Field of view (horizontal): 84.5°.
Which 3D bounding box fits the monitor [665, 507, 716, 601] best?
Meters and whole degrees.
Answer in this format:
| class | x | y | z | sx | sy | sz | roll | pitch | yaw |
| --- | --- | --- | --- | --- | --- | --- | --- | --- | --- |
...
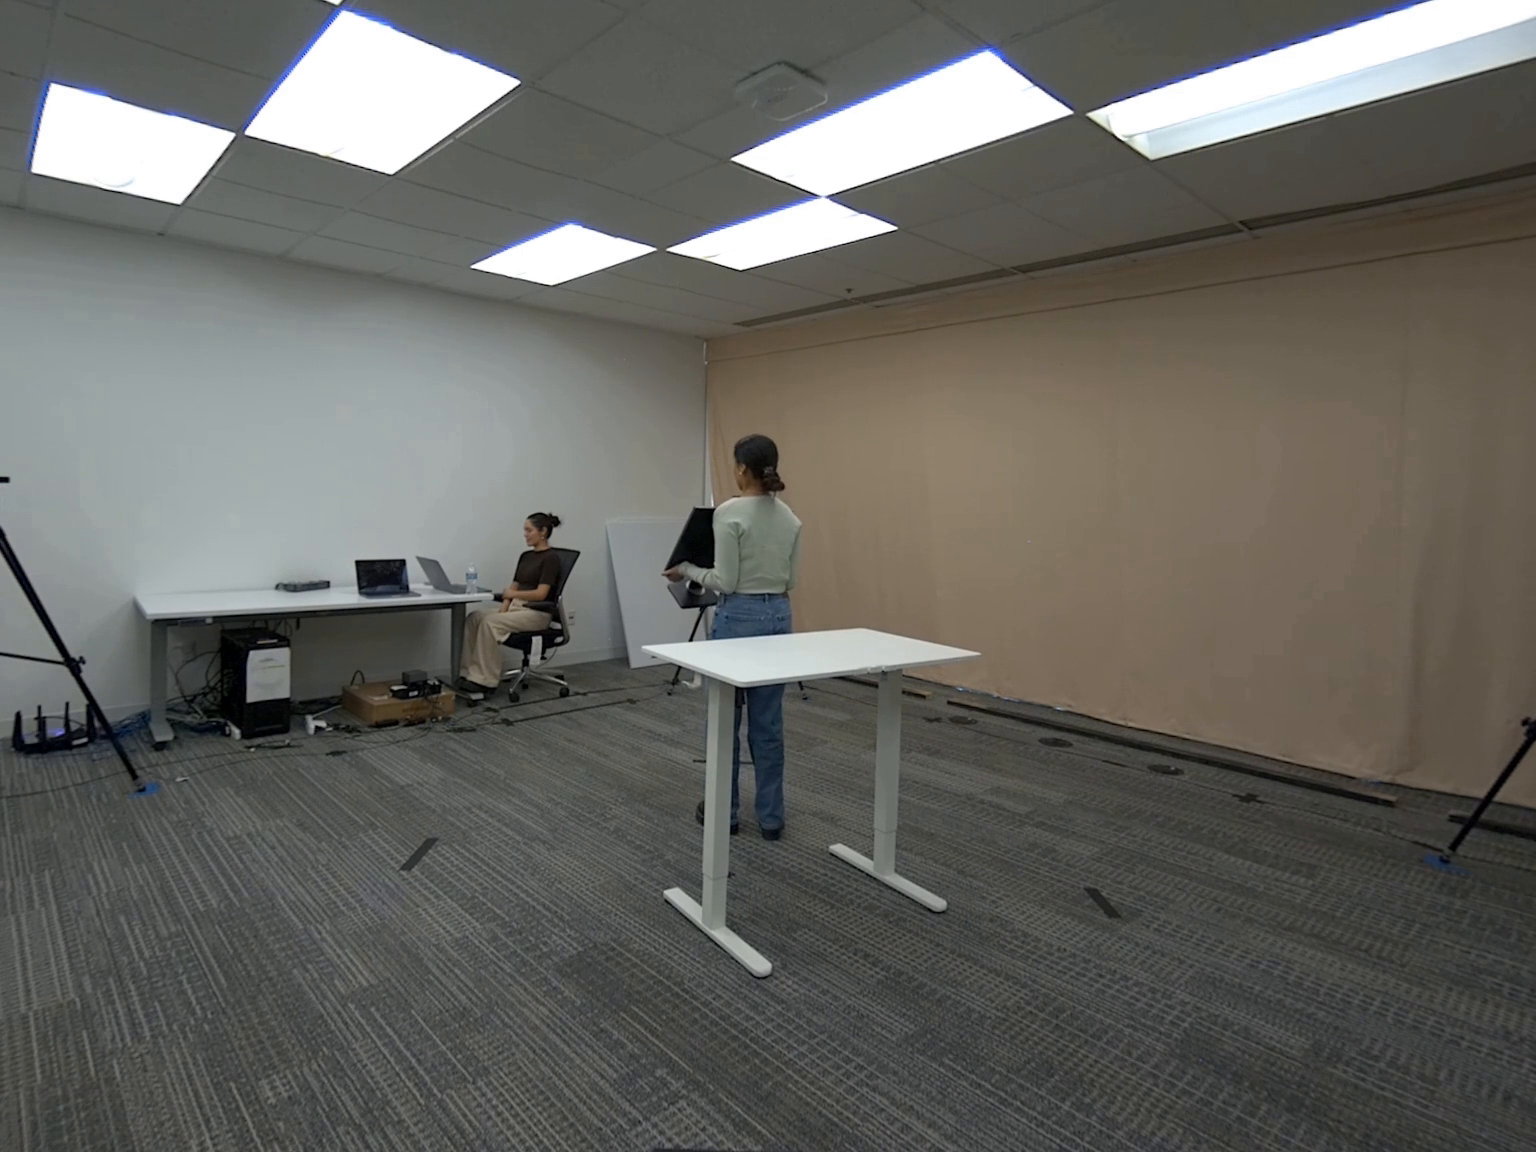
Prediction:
| class | x | y | z | sx | sy | sz | roll | pitch | yaw |
| --- | --- | --- | --- | --- | --- | --- | --- | --- | --- |
| monitor | -0.211 | -0.098 | 3.647 | 0.527 | 0.520 | 0.192 | -2 | 50 | -42 |
